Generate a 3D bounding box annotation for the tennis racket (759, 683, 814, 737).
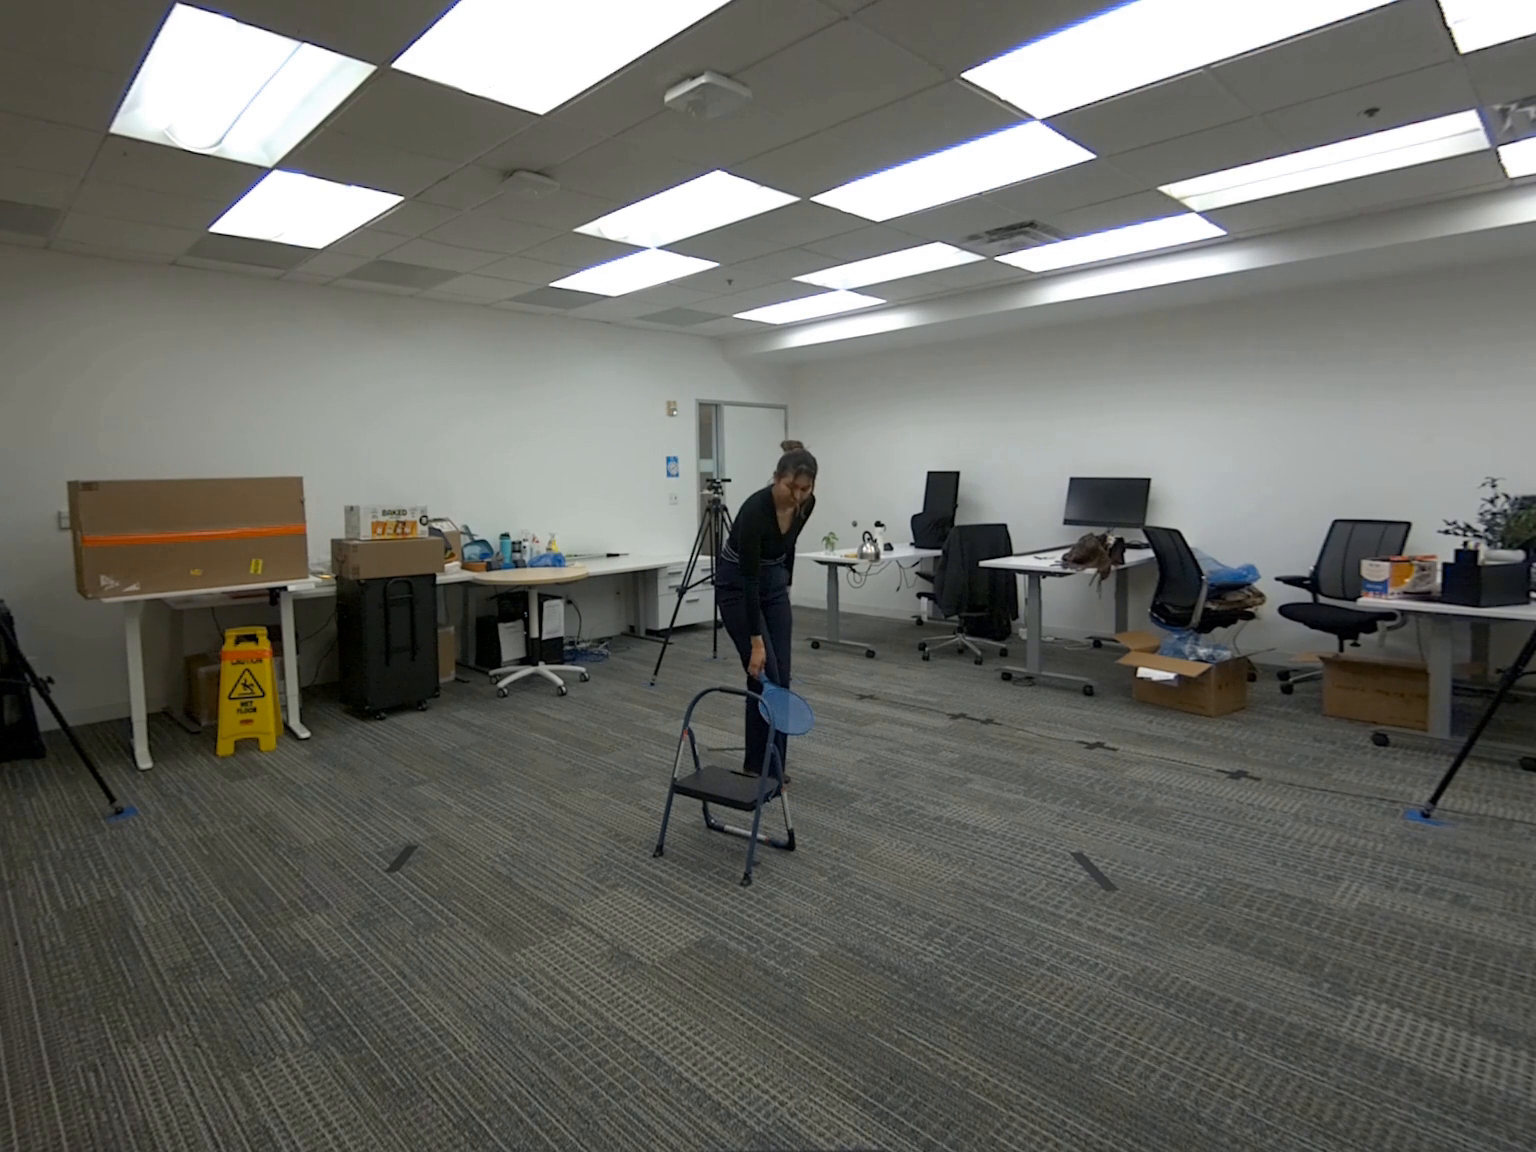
[{"bbox_3d":[0.026,0.520,3.585,0.210,0.031,0.450,-15,39,-29],"label":"tennis racket"}]
